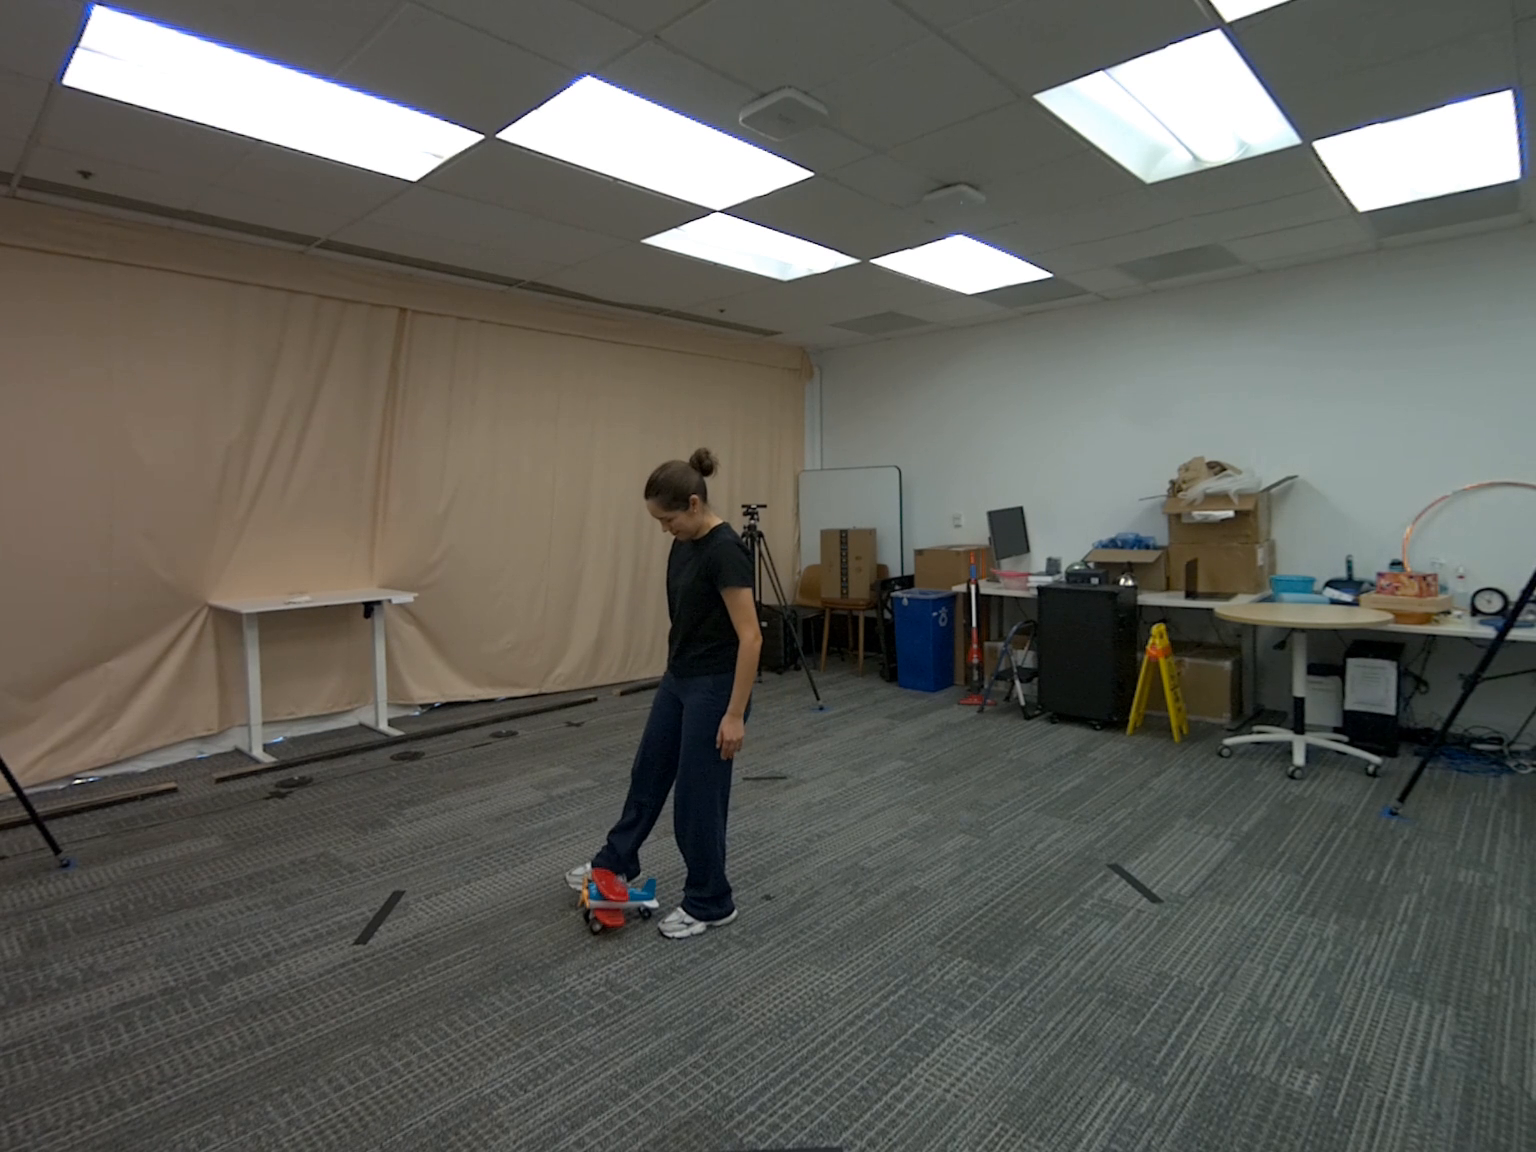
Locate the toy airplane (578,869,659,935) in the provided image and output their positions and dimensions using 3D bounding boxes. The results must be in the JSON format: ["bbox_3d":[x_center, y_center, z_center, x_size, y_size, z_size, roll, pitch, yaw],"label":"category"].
[{"bbox_3d":[-0.499,1.088,2.840,0.259,0.156,0.252,2,6,37],"label":"toy airplane"}]
